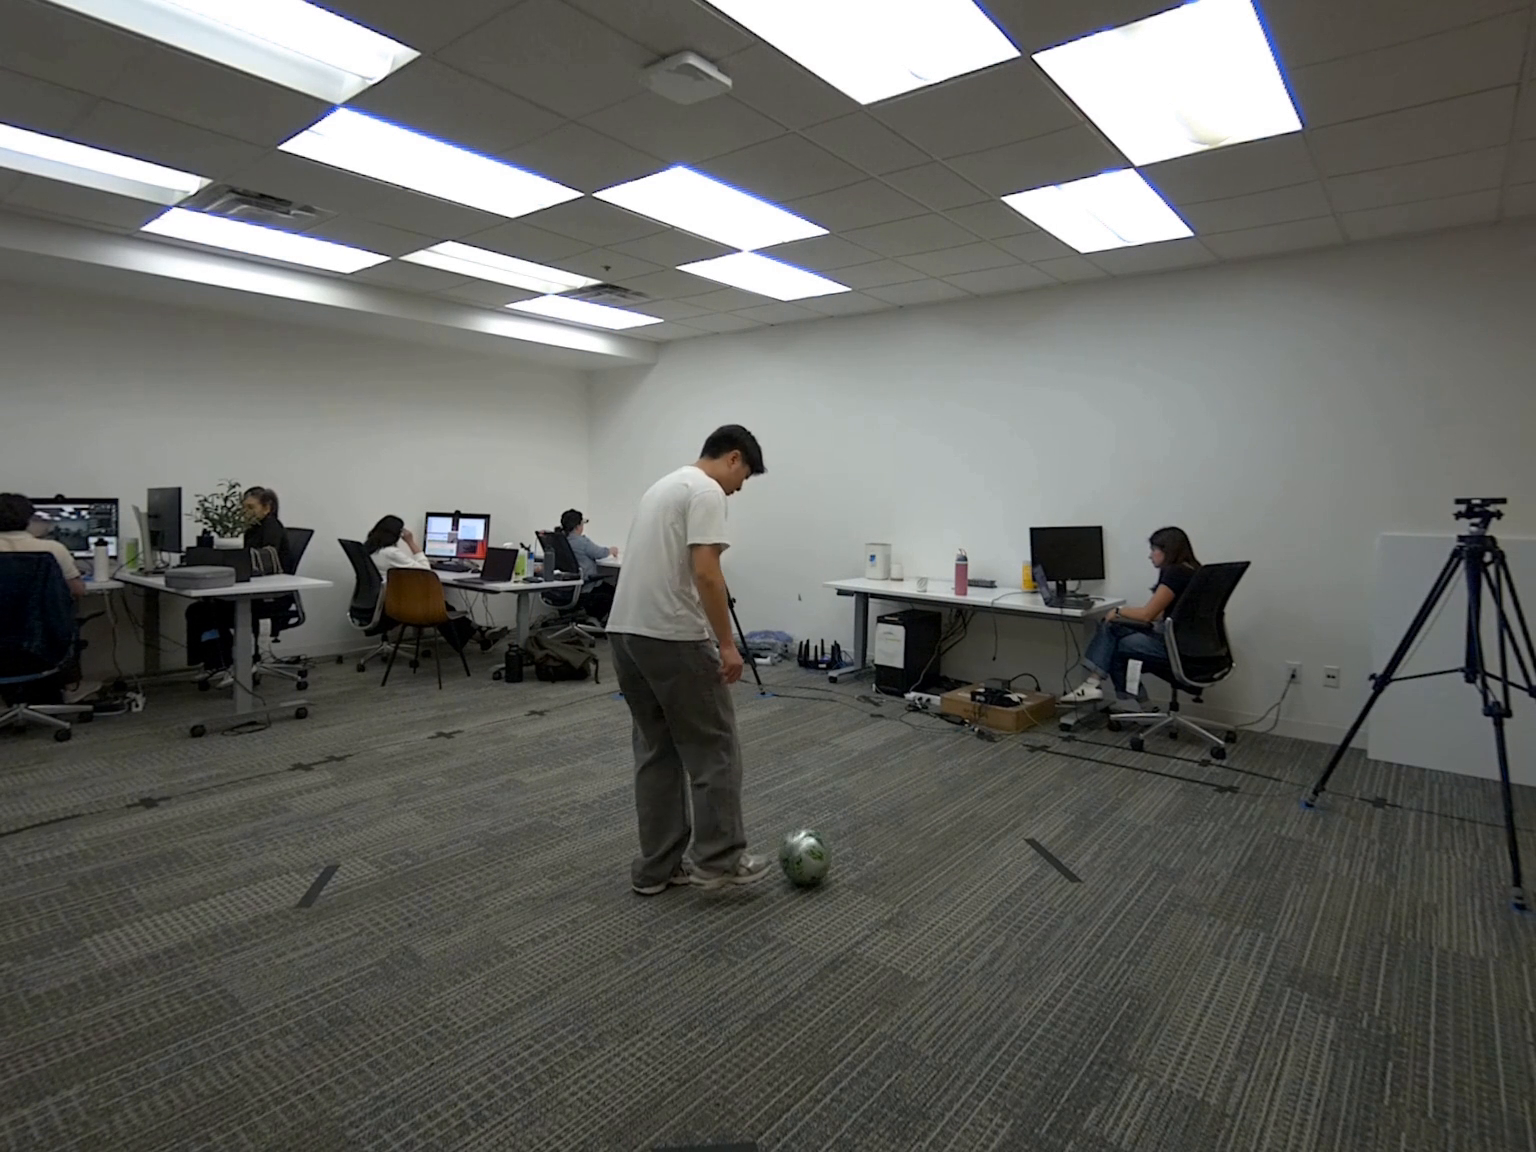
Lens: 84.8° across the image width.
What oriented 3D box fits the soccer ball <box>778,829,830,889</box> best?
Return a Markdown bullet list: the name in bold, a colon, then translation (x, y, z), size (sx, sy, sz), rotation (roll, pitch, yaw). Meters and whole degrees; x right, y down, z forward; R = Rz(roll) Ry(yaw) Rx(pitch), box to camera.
- **soccer ball**: translation (0.136, 0.994, 3.013), size (0.187, 0.187, 0.188), rotation (1, 4, -2)
